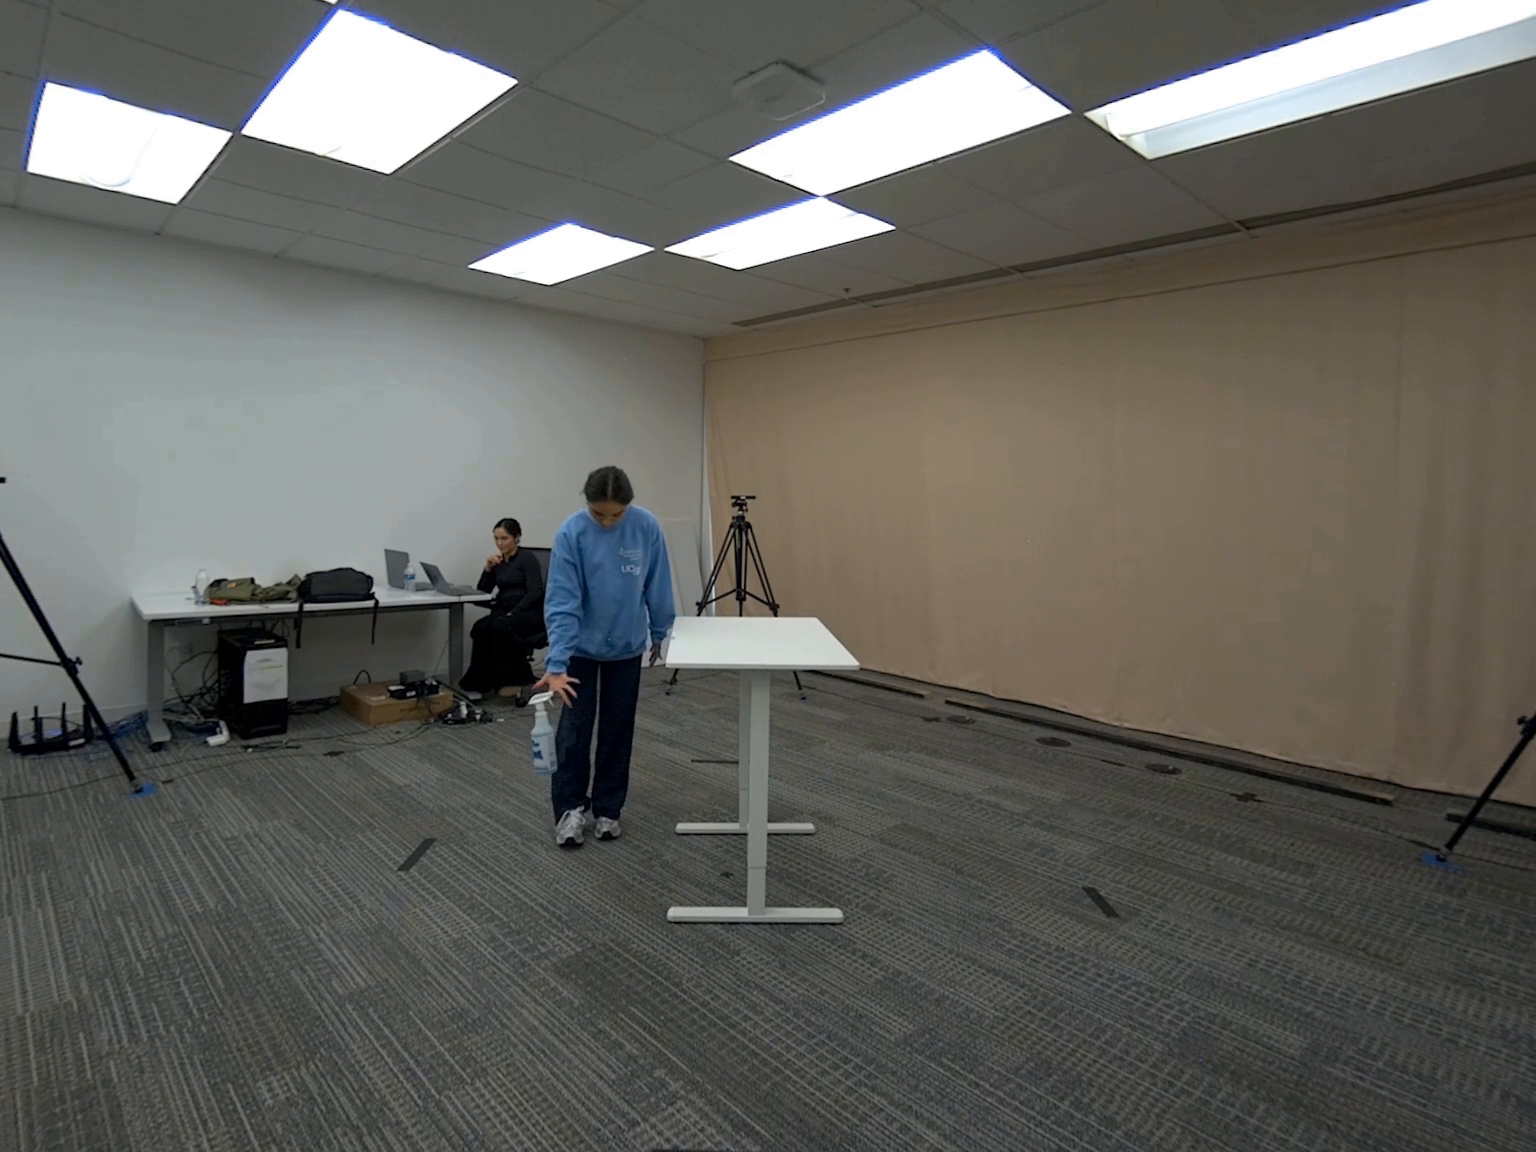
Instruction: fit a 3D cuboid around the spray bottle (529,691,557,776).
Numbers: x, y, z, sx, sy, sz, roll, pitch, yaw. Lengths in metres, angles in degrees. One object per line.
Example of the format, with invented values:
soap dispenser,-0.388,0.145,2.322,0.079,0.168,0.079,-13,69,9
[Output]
spray bottle,-0.865,0.600,3.177,0.090,0.296,0.087,-2,4,7
